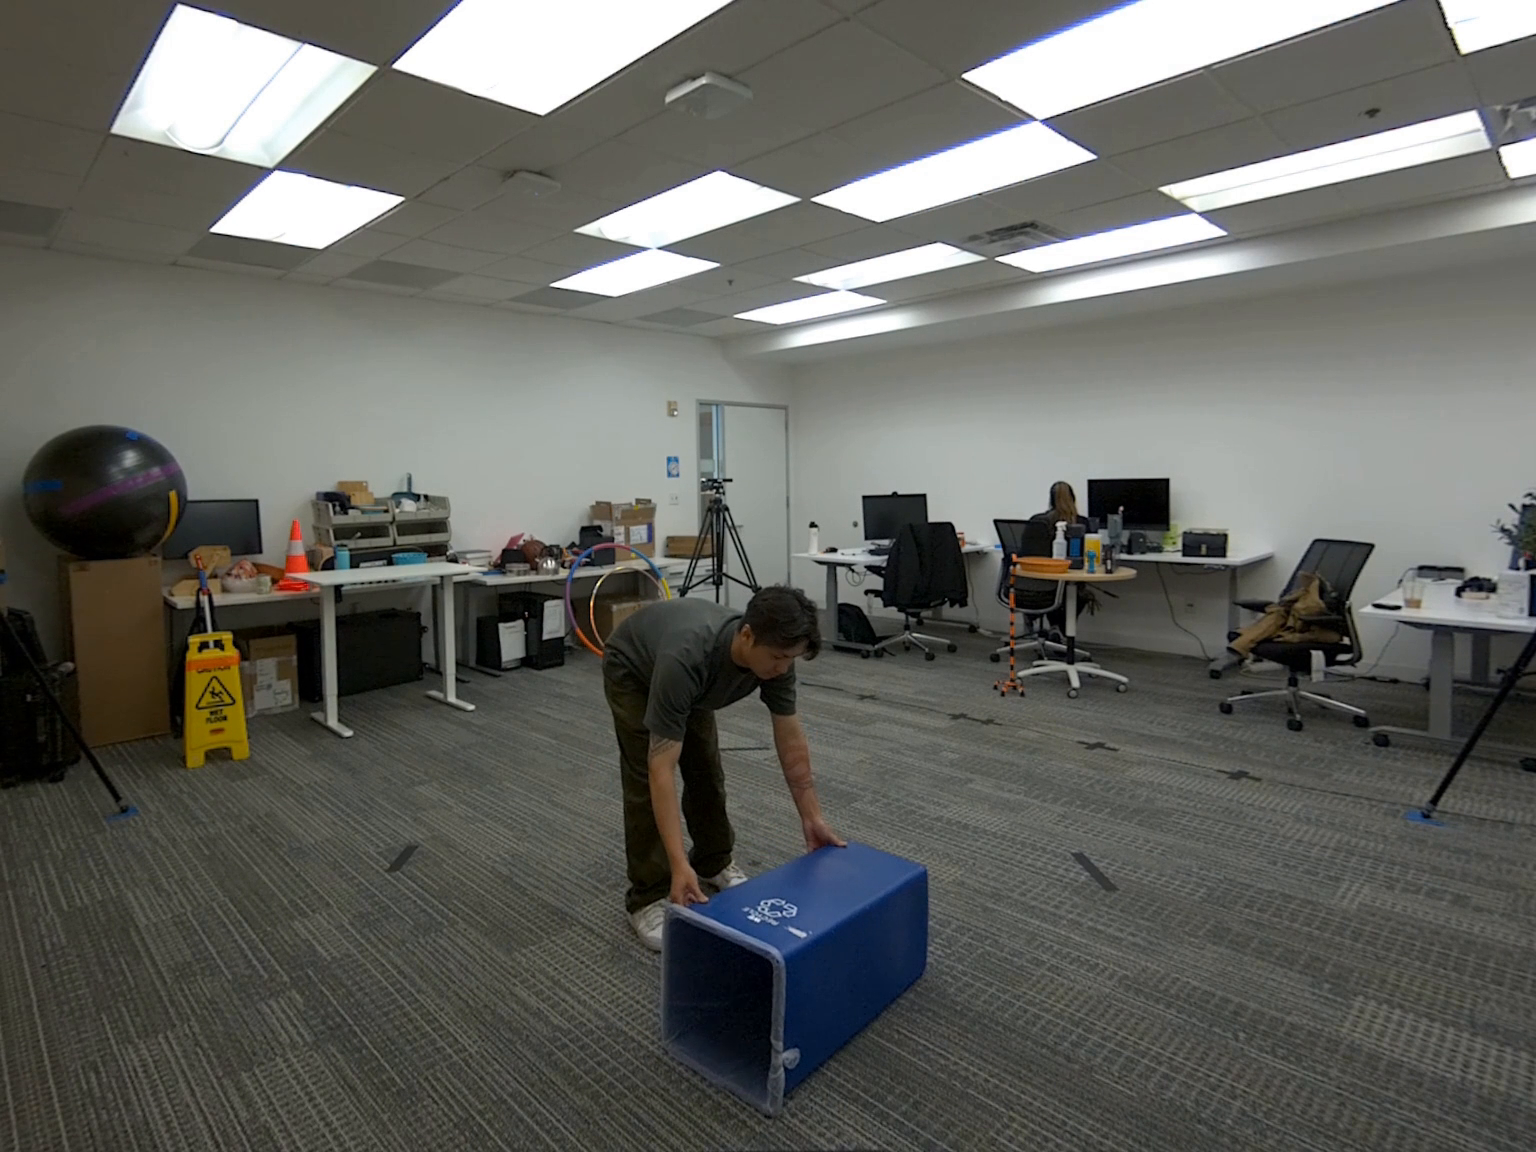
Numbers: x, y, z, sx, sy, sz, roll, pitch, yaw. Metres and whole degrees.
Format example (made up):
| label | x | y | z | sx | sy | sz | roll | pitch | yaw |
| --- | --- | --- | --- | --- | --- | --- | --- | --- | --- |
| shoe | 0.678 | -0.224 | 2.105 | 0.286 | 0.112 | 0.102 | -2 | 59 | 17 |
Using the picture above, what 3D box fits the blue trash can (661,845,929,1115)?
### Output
| label | x | y | z | sx | sy | sz | roll | pitch | yaw |
| --- | --- | --- | --- | --- | --- | --- | --- | --- | --- |
| blue trash can | 0.113 | 0.972 | 2.230 | 0.389 | 0.373 | 0.694 | 2 | 5 | 41 |
